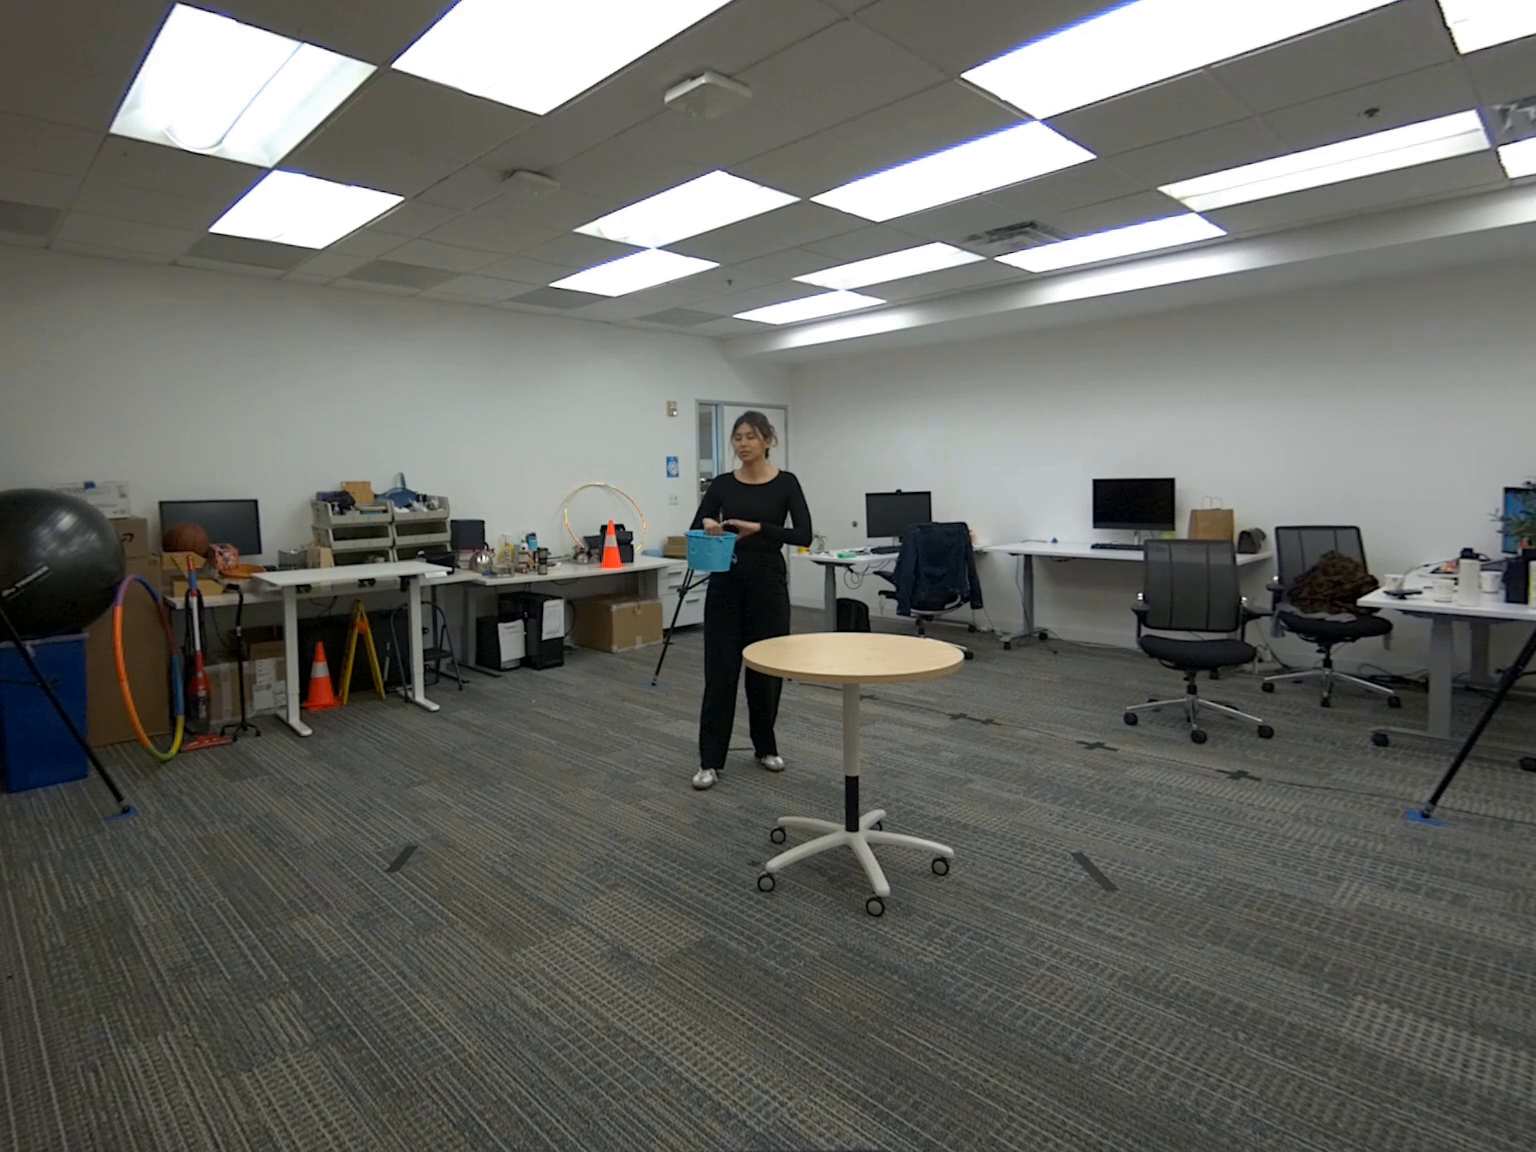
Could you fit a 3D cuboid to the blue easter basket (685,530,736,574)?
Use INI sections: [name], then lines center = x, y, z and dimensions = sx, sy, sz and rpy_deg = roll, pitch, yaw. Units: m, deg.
[blue easter basket]
center = -0.251, -0.108, 3.711
dimensions = 0.243, 0.155, 0.245
rpy_deg = 1, 8, -2
